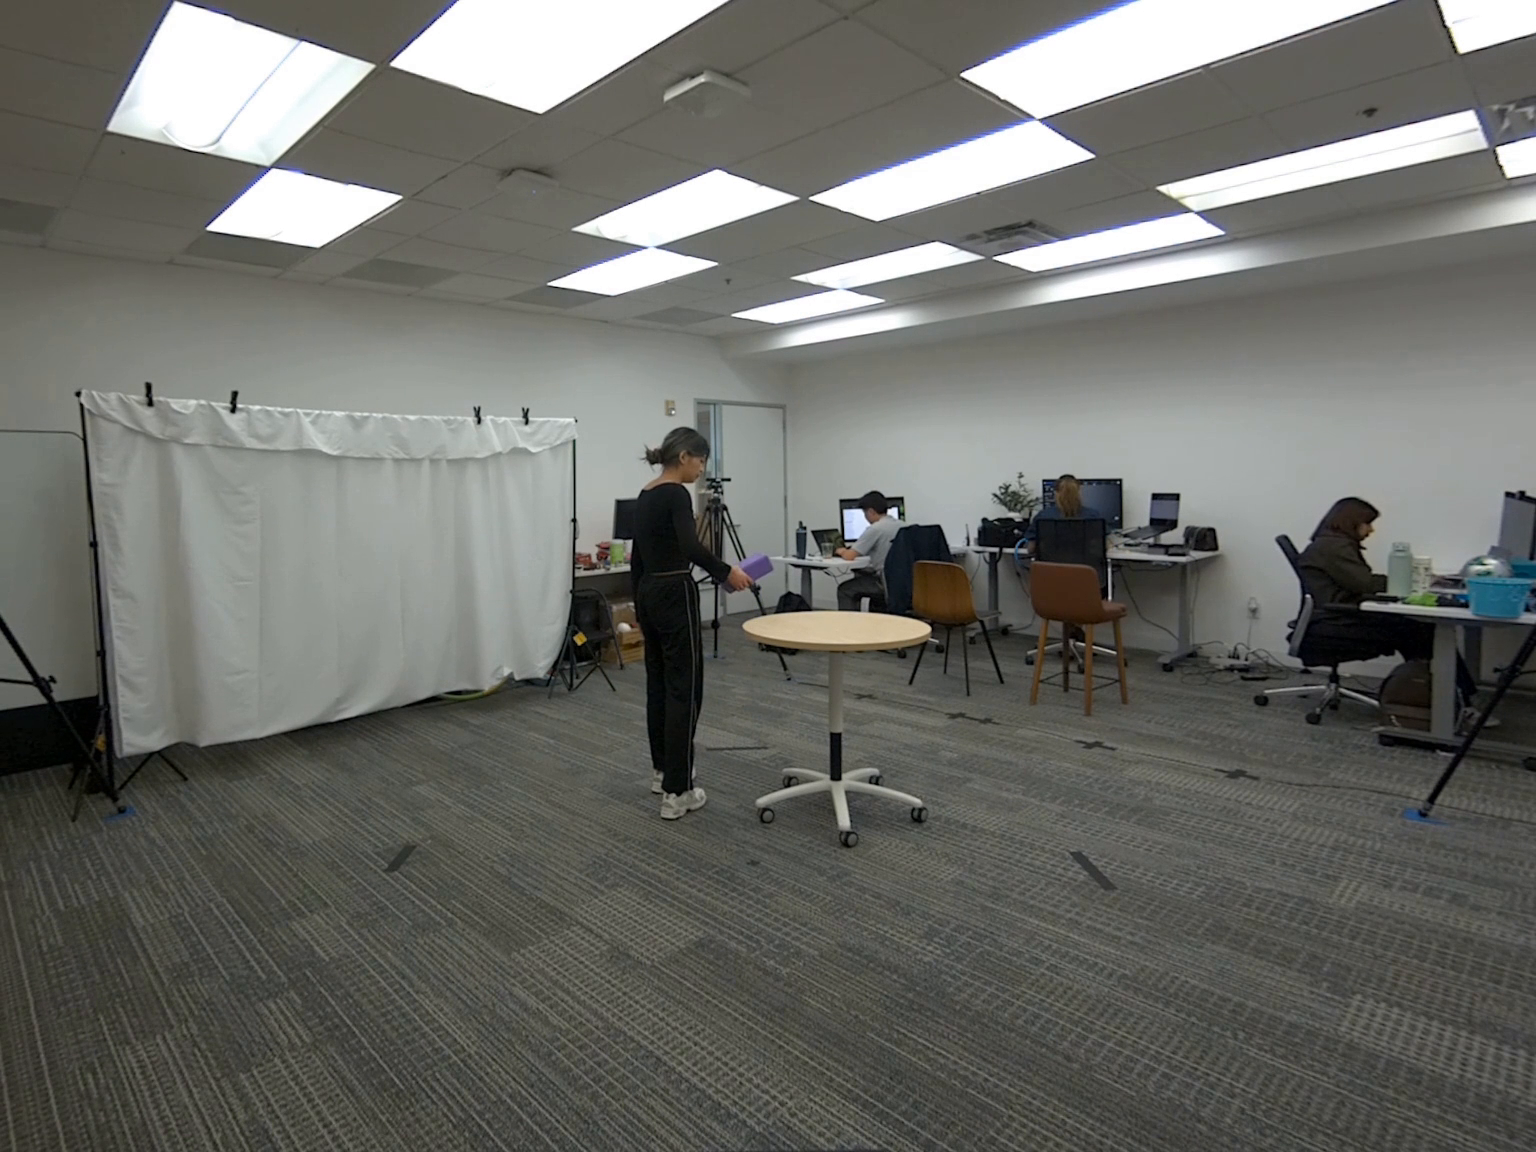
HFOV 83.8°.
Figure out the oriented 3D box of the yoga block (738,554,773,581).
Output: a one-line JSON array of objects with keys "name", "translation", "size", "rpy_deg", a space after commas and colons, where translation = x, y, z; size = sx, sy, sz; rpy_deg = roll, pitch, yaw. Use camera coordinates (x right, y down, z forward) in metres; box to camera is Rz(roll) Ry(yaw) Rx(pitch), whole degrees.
[{"name": "yoga block", "translation": [-0.108, -0.016, 3.751], "size": [0.229, 0.075, 0.151], "rpy_deg": [-26, 13, 0]}]
